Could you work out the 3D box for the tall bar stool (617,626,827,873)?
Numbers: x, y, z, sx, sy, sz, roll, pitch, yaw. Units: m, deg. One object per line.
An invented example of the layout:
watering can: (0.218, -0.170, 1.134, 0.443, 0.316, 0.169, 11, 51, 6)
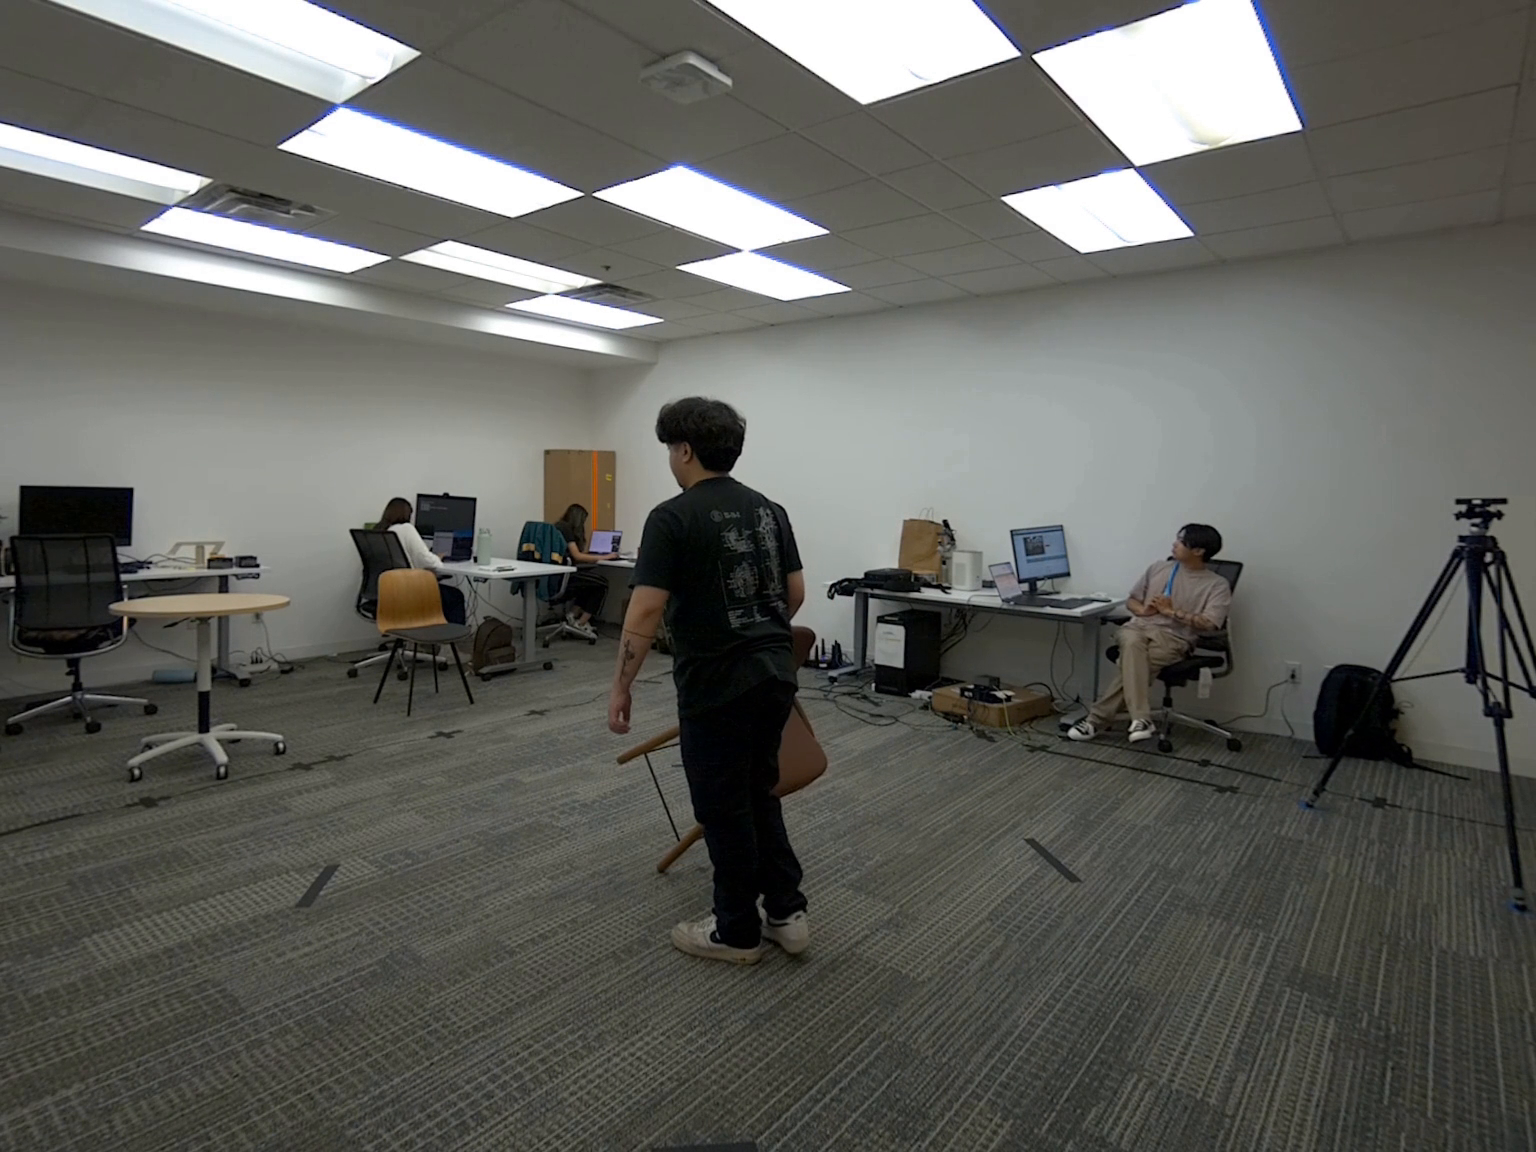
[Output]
tall bar stool: (-0.121, 0.618, 3.052, 0.442, 0.482, 0.889, -2, -36, -46)
